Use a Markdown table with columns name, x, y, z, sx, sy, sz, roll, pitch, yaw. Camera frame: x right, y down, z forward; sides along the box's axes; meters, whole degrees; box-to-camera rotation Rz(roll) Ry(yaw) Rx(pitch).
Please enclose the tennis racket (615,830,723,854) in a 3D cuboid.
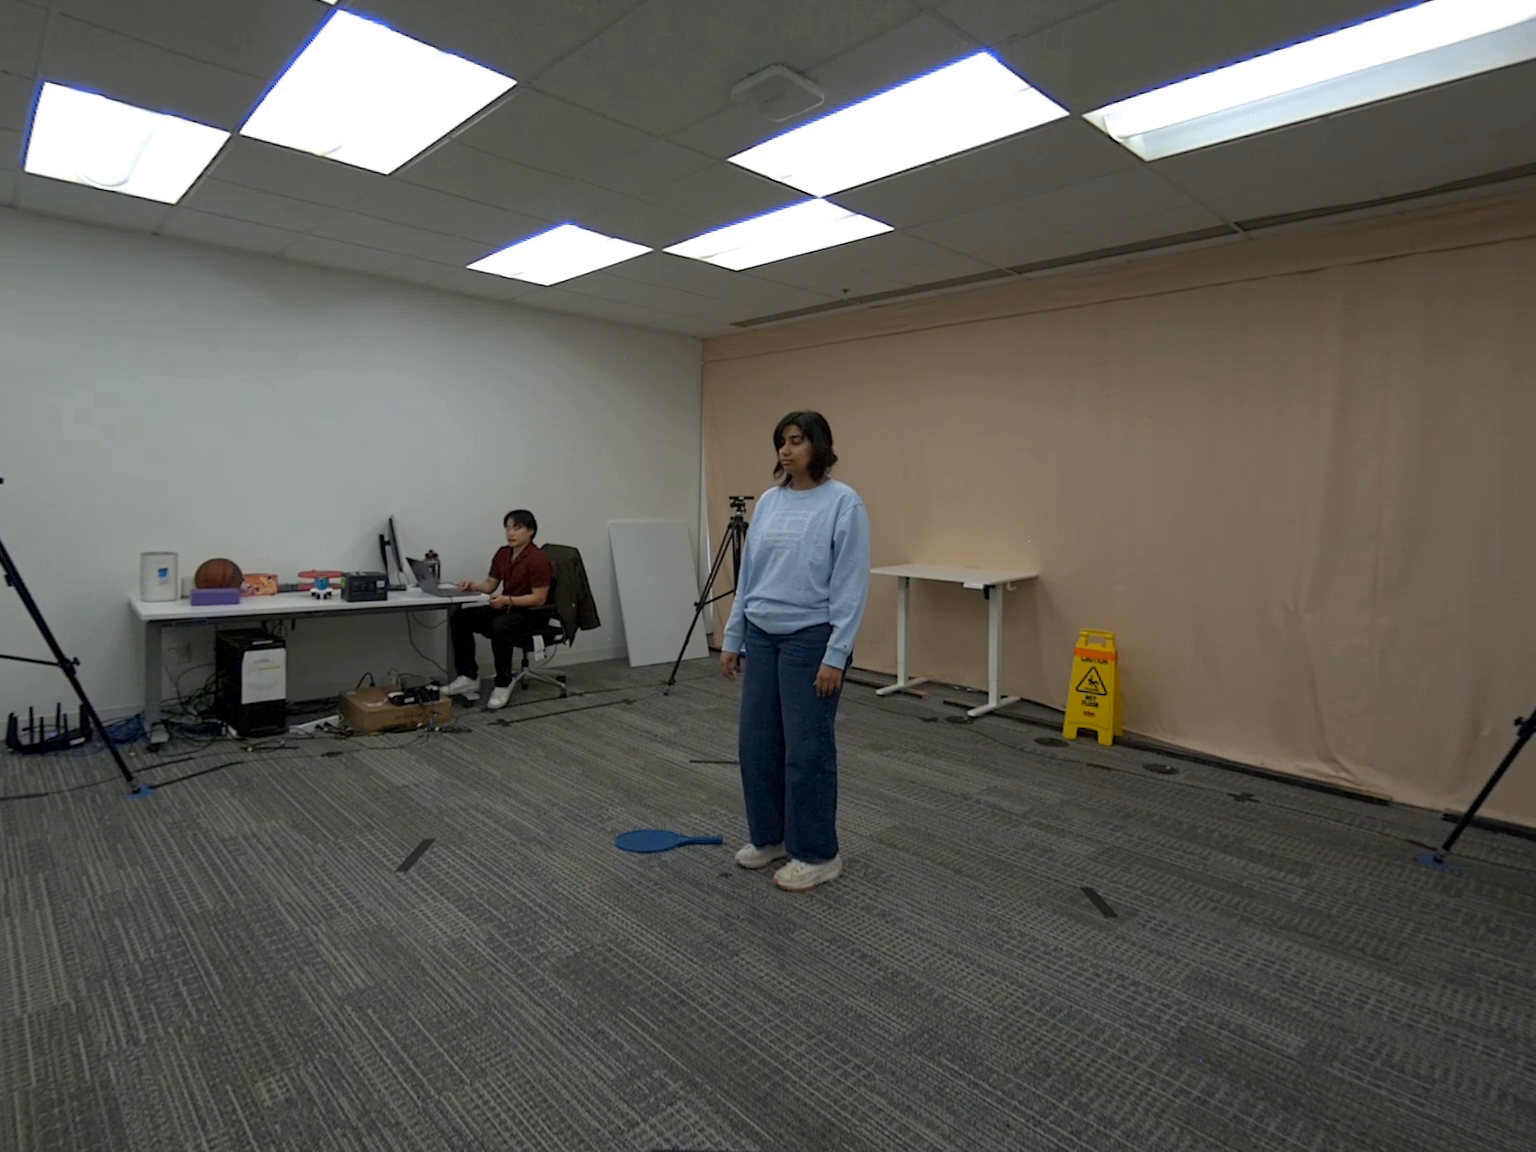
| name | x | y | z | sx | sy | sz | roll | pitch | yaw |
| --- | --- | --- | --- | --- | --- | --- | --- | --- | --- |
| tennis racket | -0.401 | 1.056 | 3.382 | 0.433 | 0.031 | 0.214 | 0 | 6 | 1 |
